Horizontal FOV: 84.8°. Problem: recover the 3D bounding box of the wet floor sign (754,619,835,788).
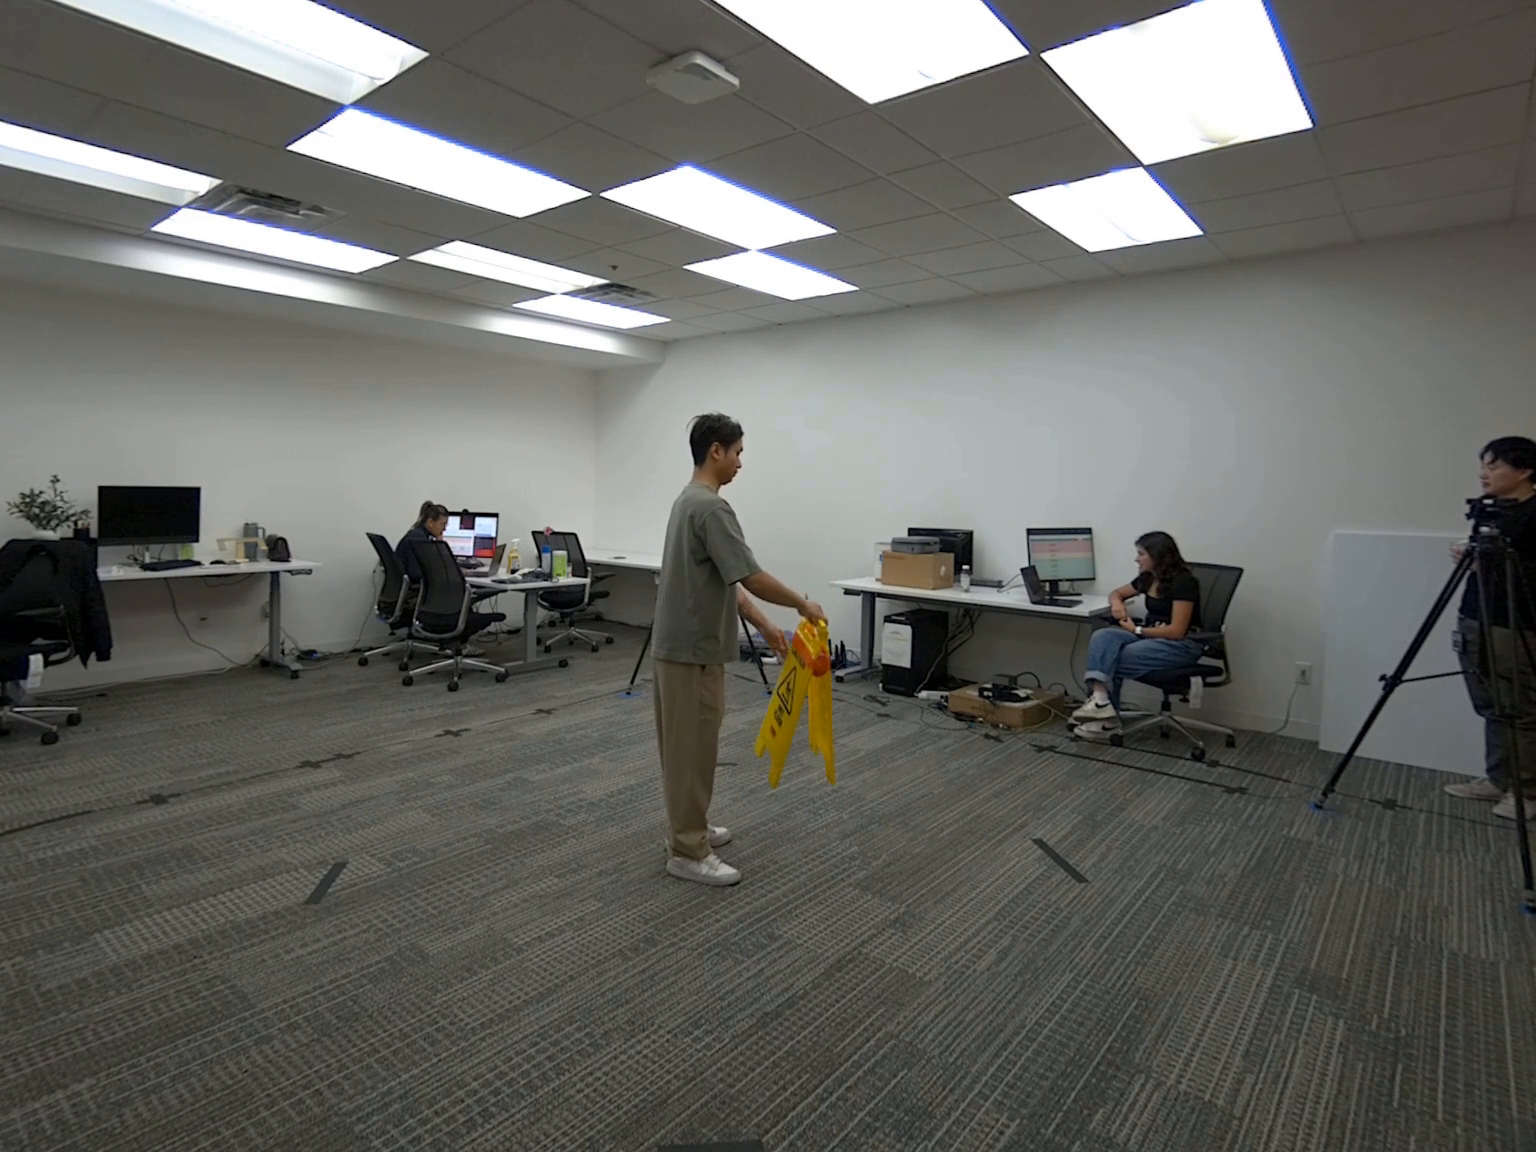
[{"bbox_3d":[0.130,0.444,3.205,0.285,0.637,0.291,2,18,-15],"label":"wet floor sign"}]
